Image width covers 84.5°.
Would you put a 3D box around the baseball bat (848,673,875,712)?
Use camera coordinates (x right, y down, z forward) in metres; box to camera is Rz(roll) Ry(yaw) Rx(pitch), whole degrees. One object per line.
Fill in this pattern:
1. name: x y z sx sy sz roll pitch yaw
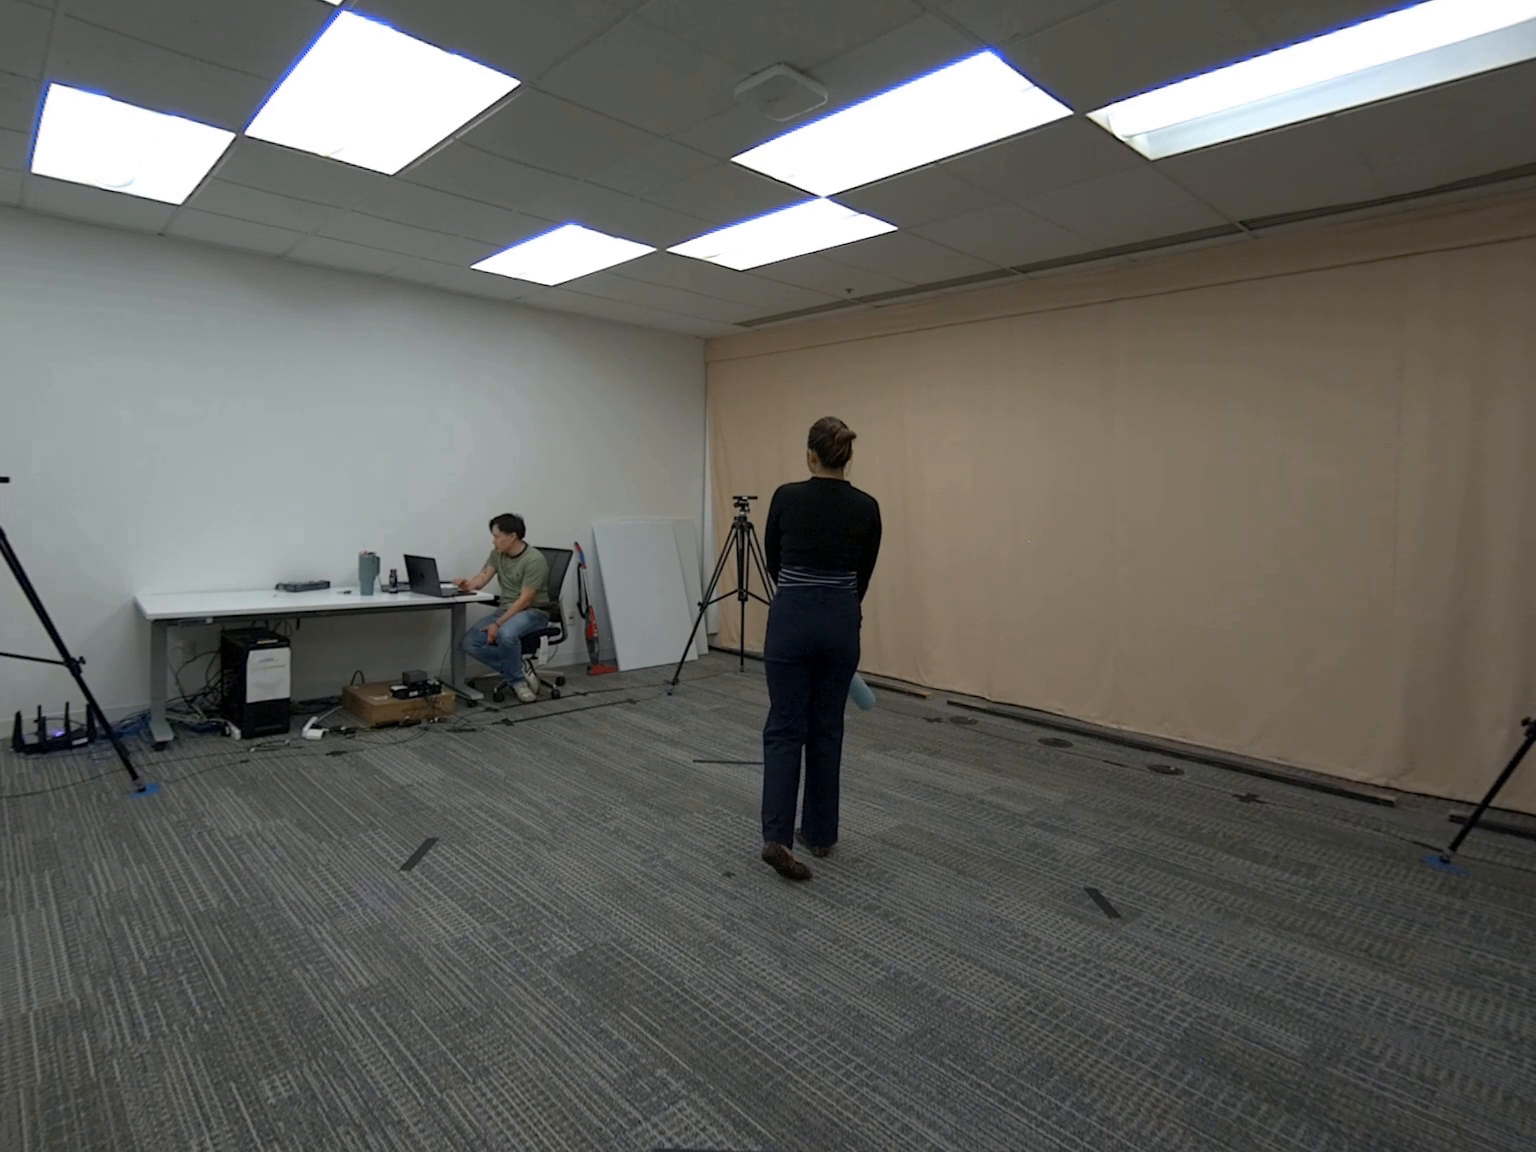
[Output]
1. baseball bat: 0.298 0.364 3.553 0.089 0.529 0.091 -28 30 17
